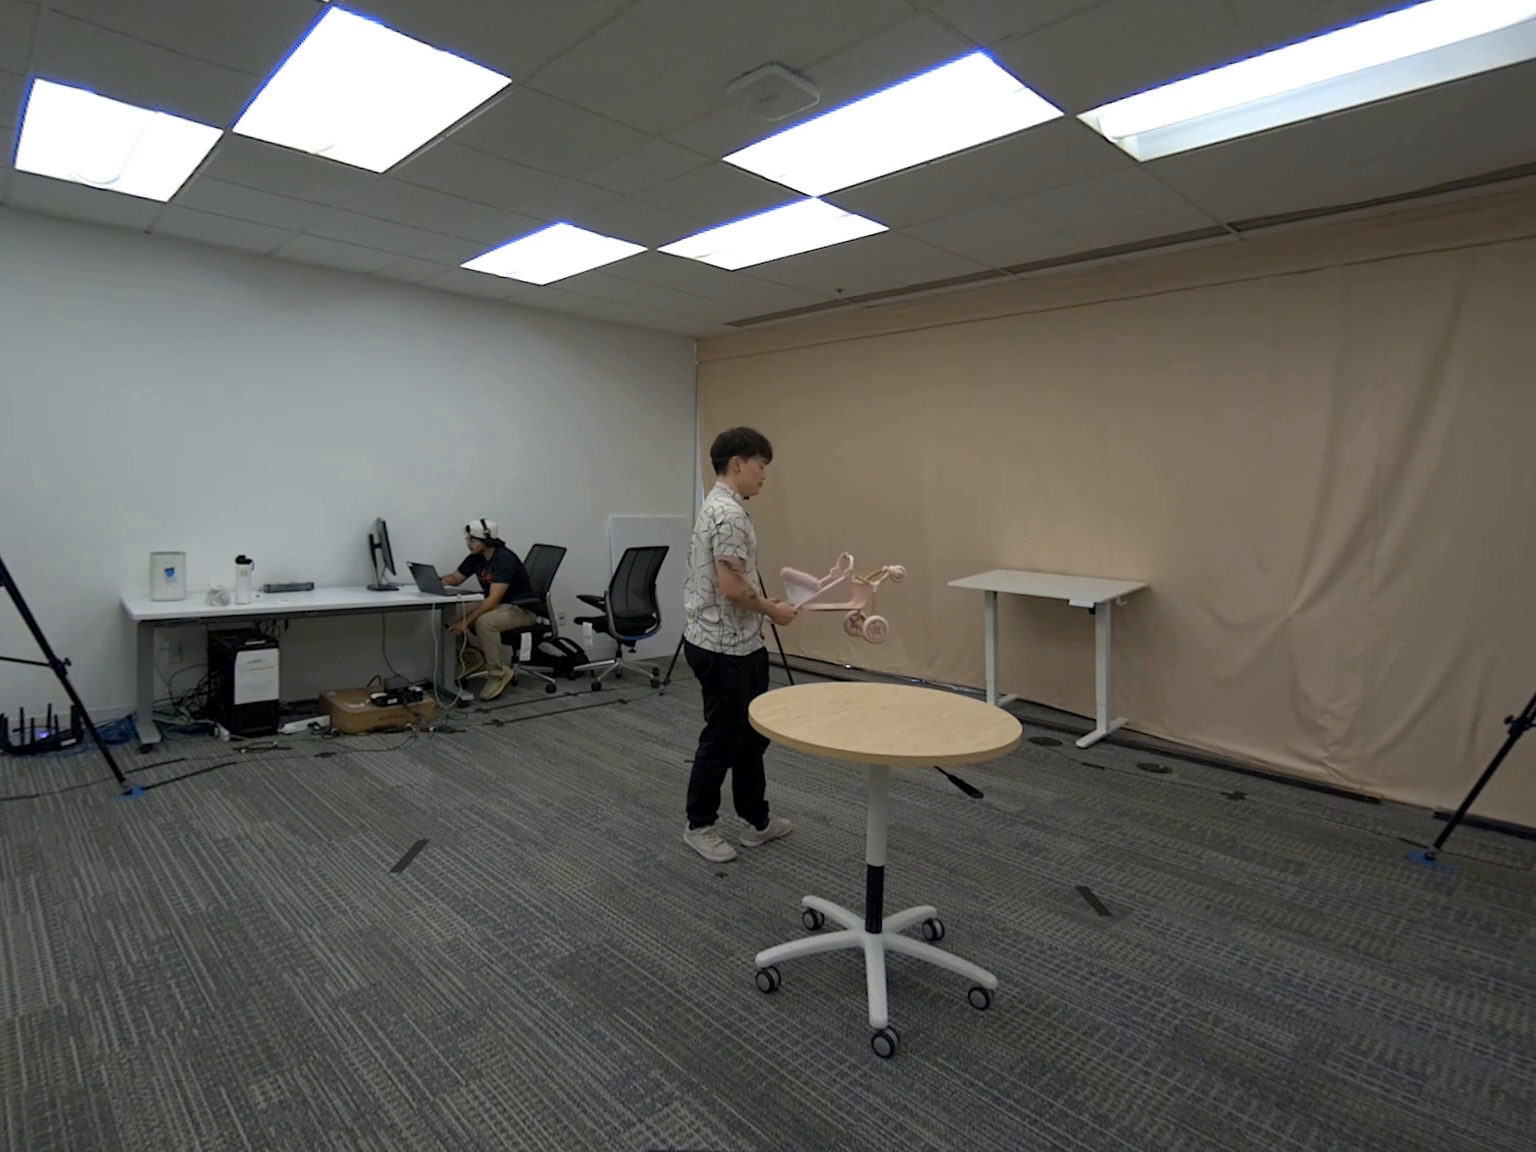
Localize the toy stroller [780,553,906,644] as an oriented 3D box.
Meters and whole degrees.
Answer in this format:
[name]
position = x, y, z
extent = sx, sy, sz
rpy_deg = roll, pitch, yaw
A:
[toy stroller]
position = 0.268, 0.065, 3.386
extent = 0.531, 0.341, 0.284
rpy_deg = 13, 3, -9
